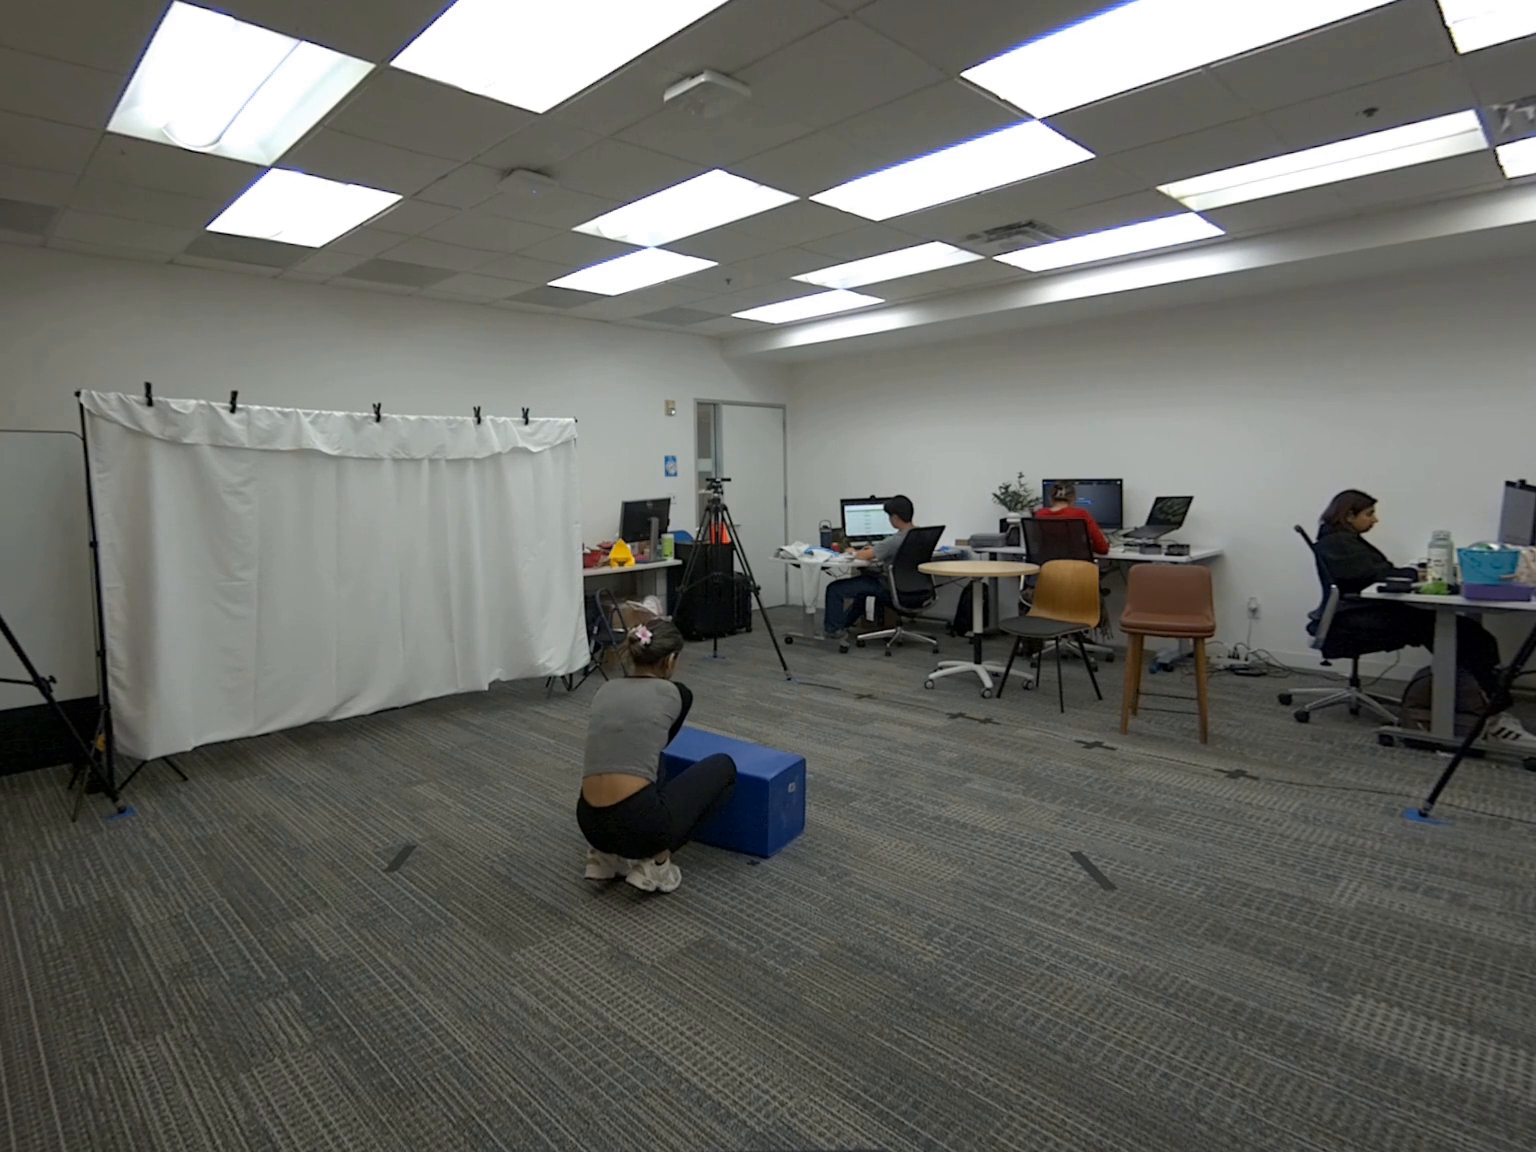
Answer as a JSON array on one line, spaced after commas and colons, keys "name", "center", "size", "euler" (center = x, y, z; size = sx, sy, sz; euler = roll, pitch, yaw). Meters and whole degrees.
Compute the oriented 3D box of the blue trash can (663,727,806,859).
[{"name": "blue trash can", "center": [-0.229, 0.837, 3.431], "size": [0.733, 0.377, 0.365], "euler": [5, 6, 31]}]
